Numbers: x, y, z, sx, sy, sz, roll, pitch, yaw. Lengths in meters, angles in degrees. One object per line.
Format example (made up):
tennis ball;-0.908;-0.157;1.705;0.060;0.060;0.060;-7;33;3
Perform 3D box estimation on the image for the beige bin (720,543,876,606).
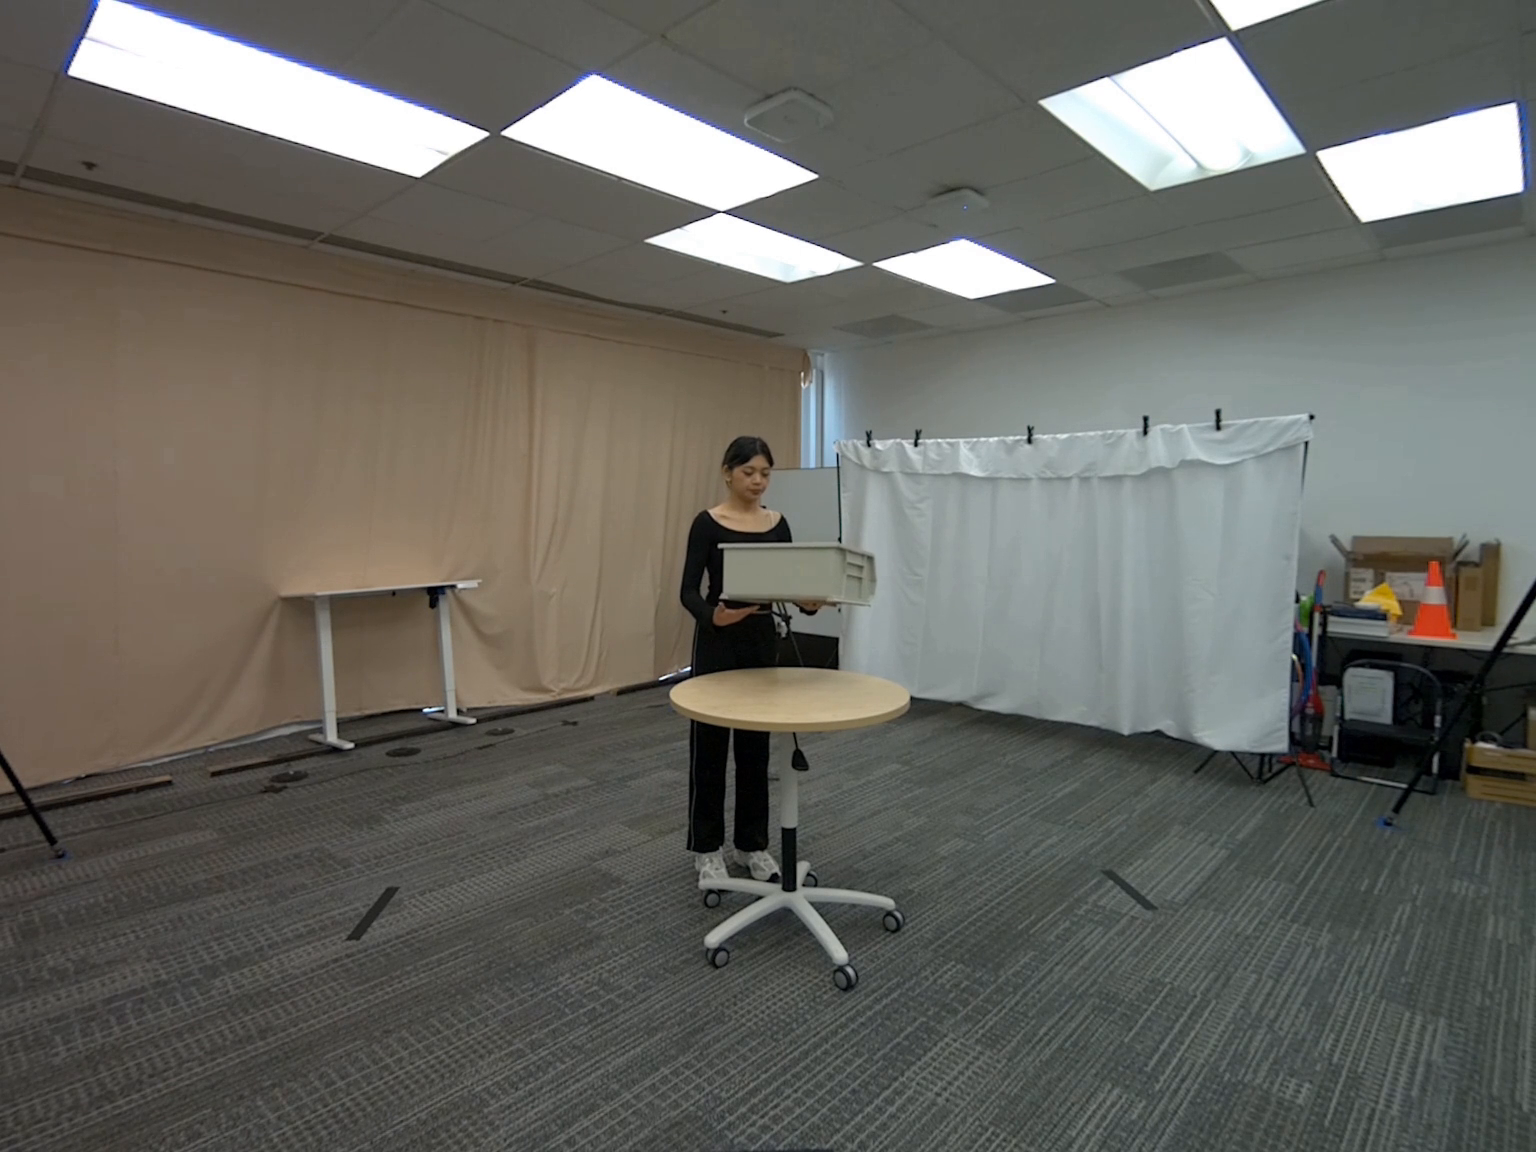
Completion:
beige bin;0.109;0.003;2.820;0.434;0.189;0.366;1;-4;28
